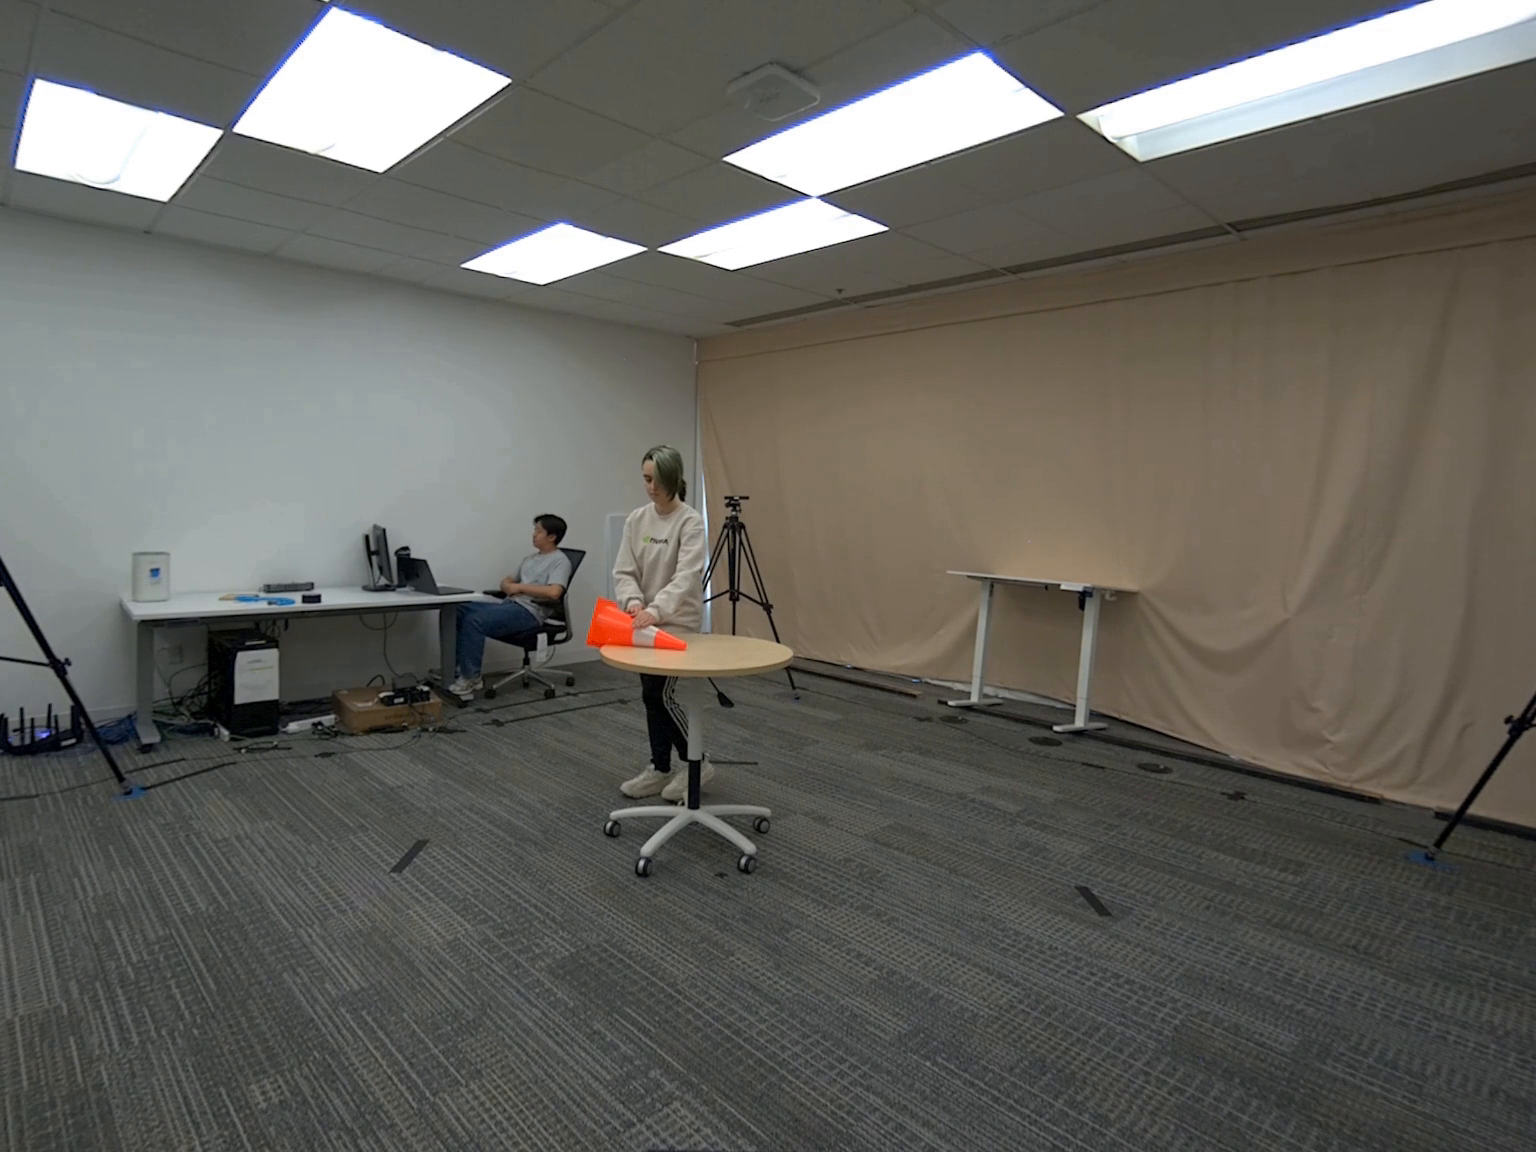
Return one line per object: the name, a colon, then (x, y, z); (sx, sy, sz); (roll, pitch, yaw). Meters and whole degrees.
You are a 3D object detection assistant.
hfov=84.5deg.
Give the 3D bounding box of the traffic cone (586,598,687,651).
traffic cone: (-0.529, 0.242, 3.403); (0.390, 0.205, 0.199); (14, -7, 17)
